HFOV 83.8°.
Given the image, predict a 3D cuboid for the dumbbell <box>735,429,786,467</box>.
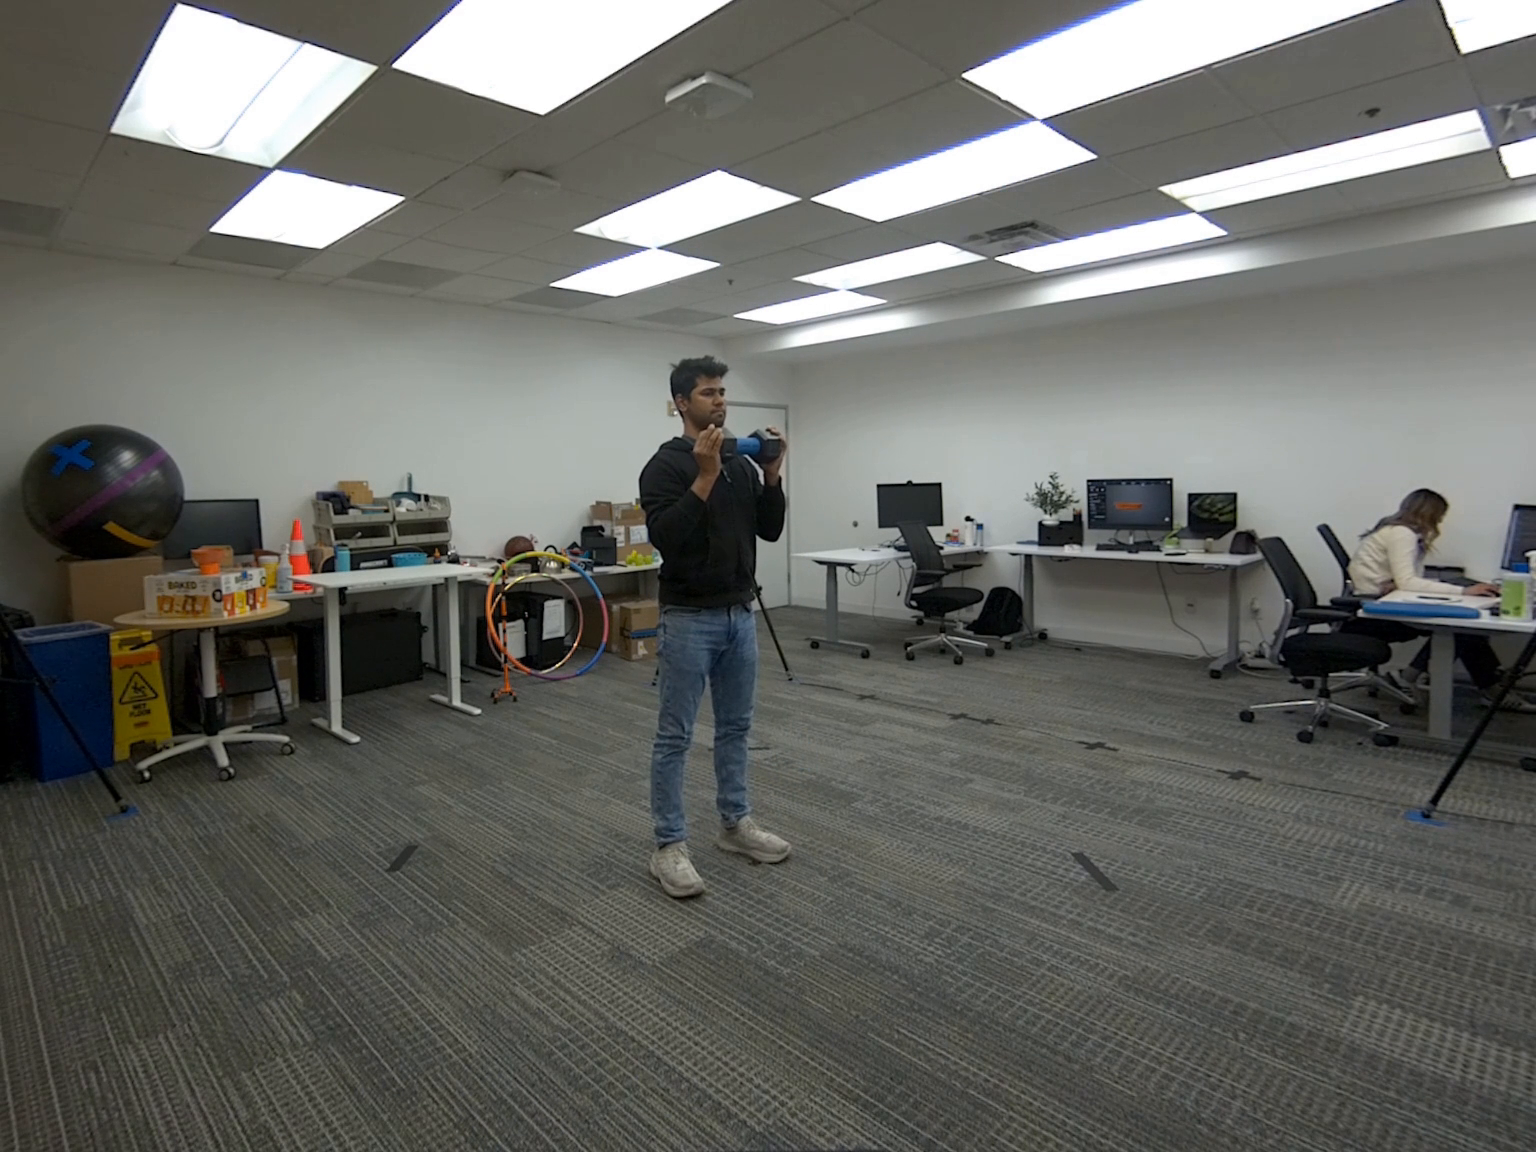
[{"bbox_3d":[-0.097,-0.440,2.913,0.286,0.122,0.112,-7,13,-43],"label":"dumbbell"}]
